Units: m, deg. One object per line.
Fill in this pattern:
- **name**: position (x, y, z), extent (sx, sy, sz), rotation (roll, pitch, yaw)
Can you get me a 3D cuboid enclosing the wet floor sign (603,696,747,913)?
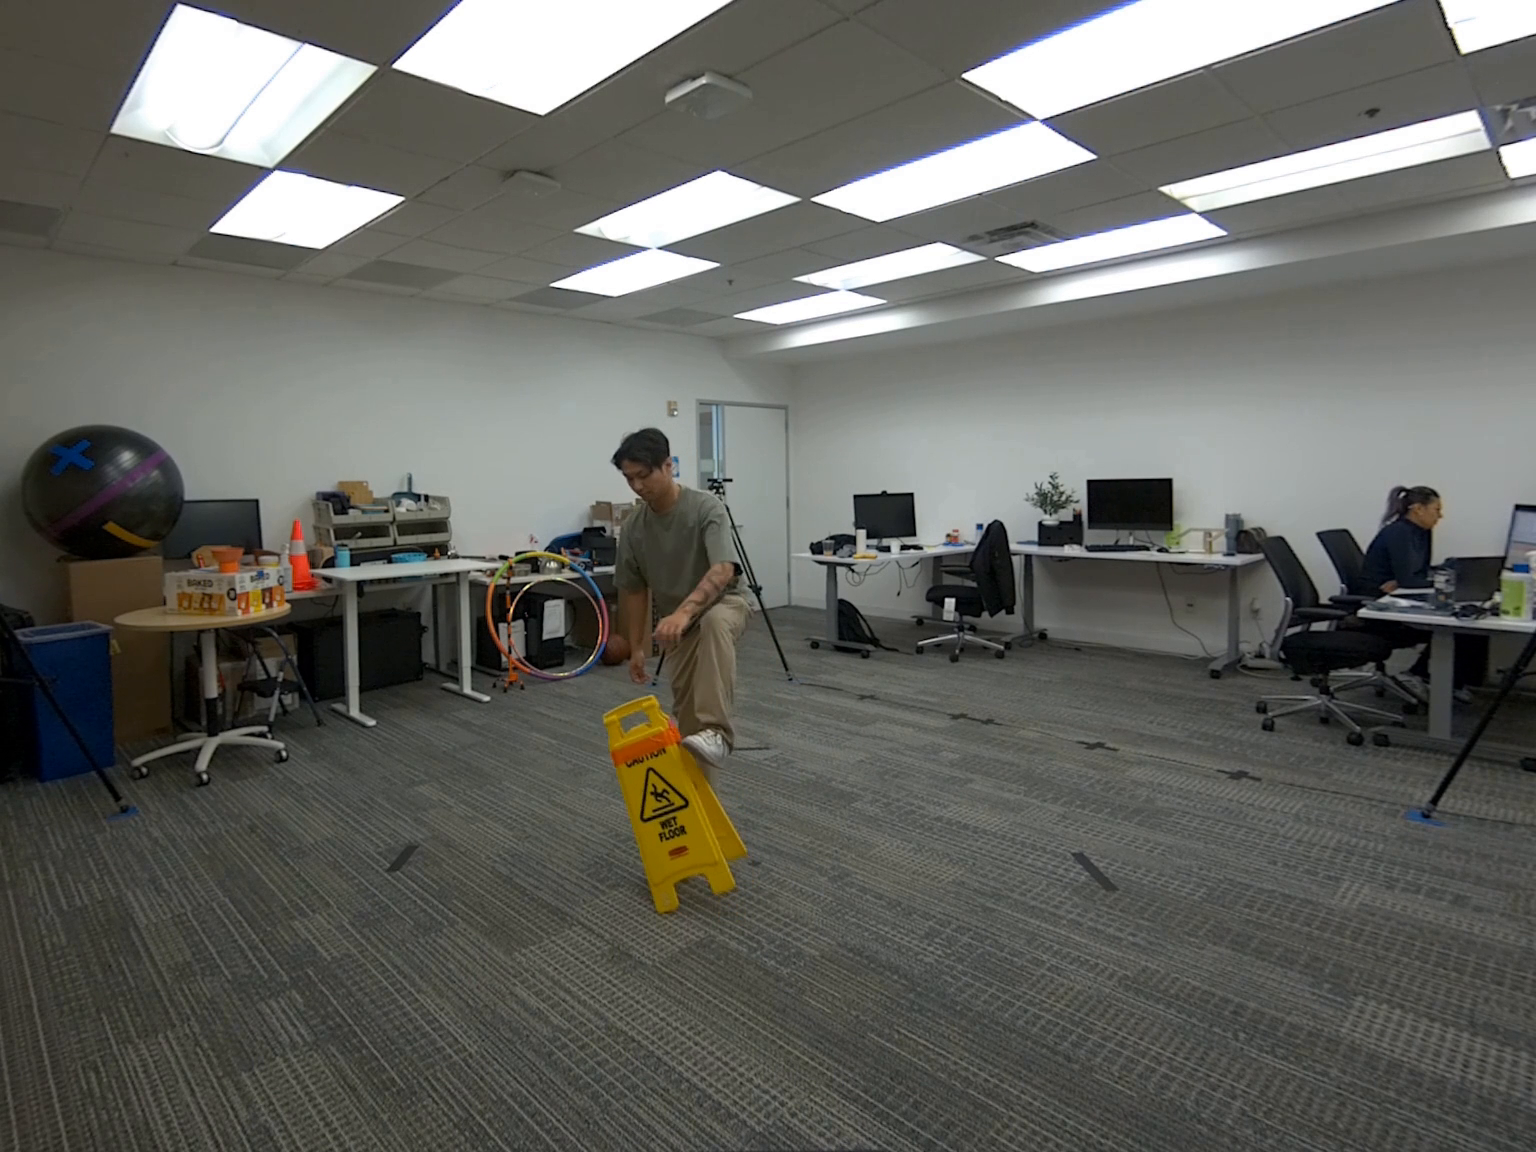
- **wet floor sign**: position (-0.342, 0.737, 2.856), extent (0.284, 0.647, 0.288), rotation (-24, 0, 10)
